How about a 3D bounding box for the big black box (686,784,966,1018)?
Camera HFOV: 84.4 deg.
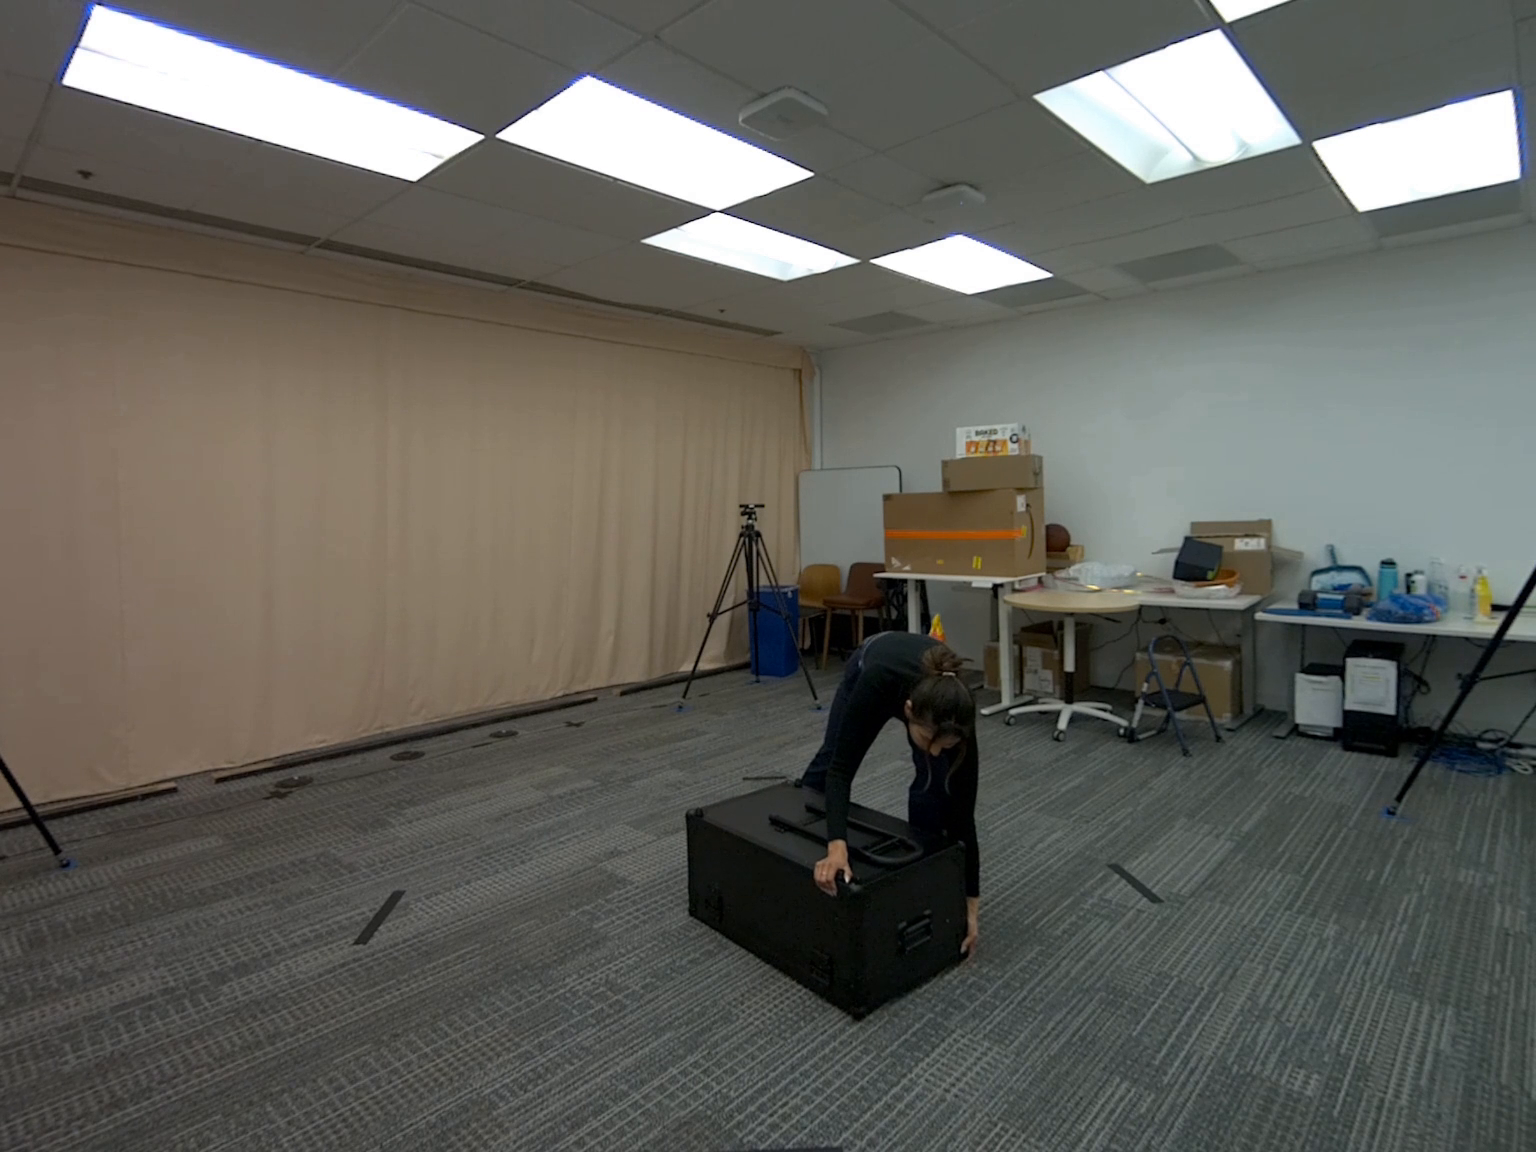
[{"bbox_3d":[0.179,0.989,2.666,0.506,0.395,0.890,-4,5,-39],"label":"big black box"}]
